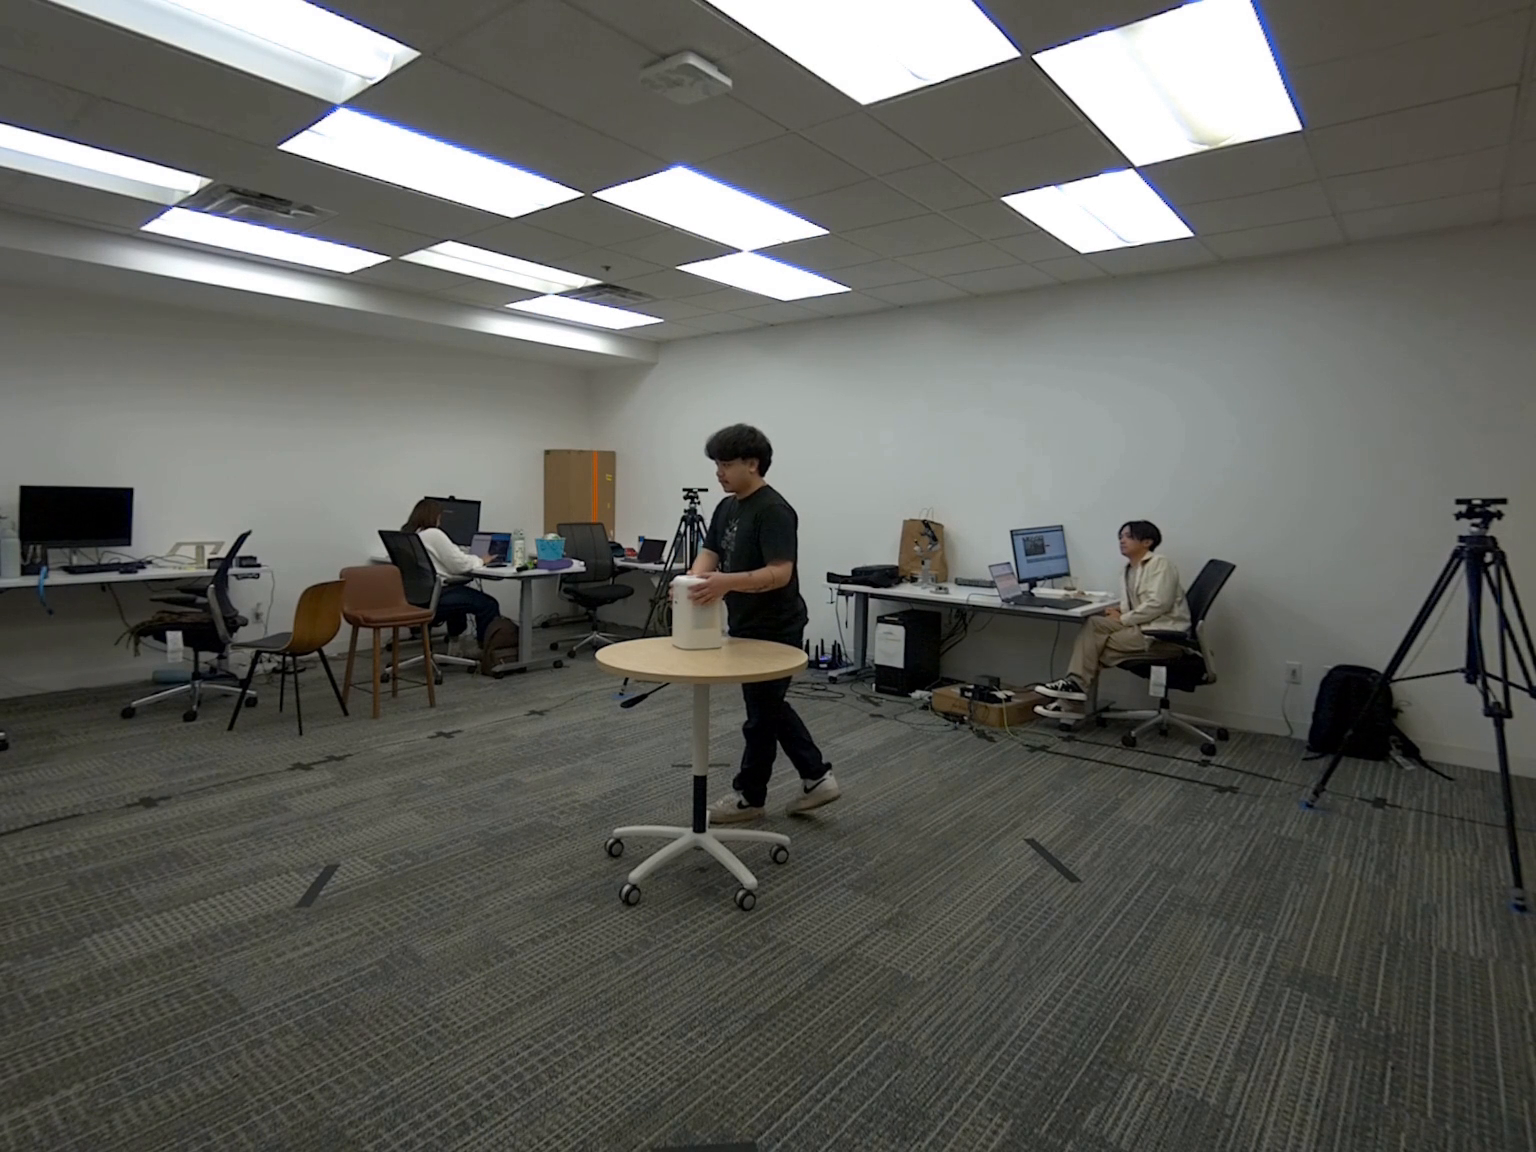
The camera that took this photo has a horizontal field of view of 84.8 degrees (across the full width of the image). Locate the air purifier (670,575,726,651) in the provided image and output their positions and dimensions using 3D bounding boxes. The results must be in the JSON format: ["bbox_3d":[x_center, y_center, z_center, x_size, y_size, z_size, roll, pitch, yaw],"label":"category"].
[{"bbox_3d":[-0.282,0.132,3.236,0.168,0.265,0.175,1,2,-22],"label":"air purifier"}]
